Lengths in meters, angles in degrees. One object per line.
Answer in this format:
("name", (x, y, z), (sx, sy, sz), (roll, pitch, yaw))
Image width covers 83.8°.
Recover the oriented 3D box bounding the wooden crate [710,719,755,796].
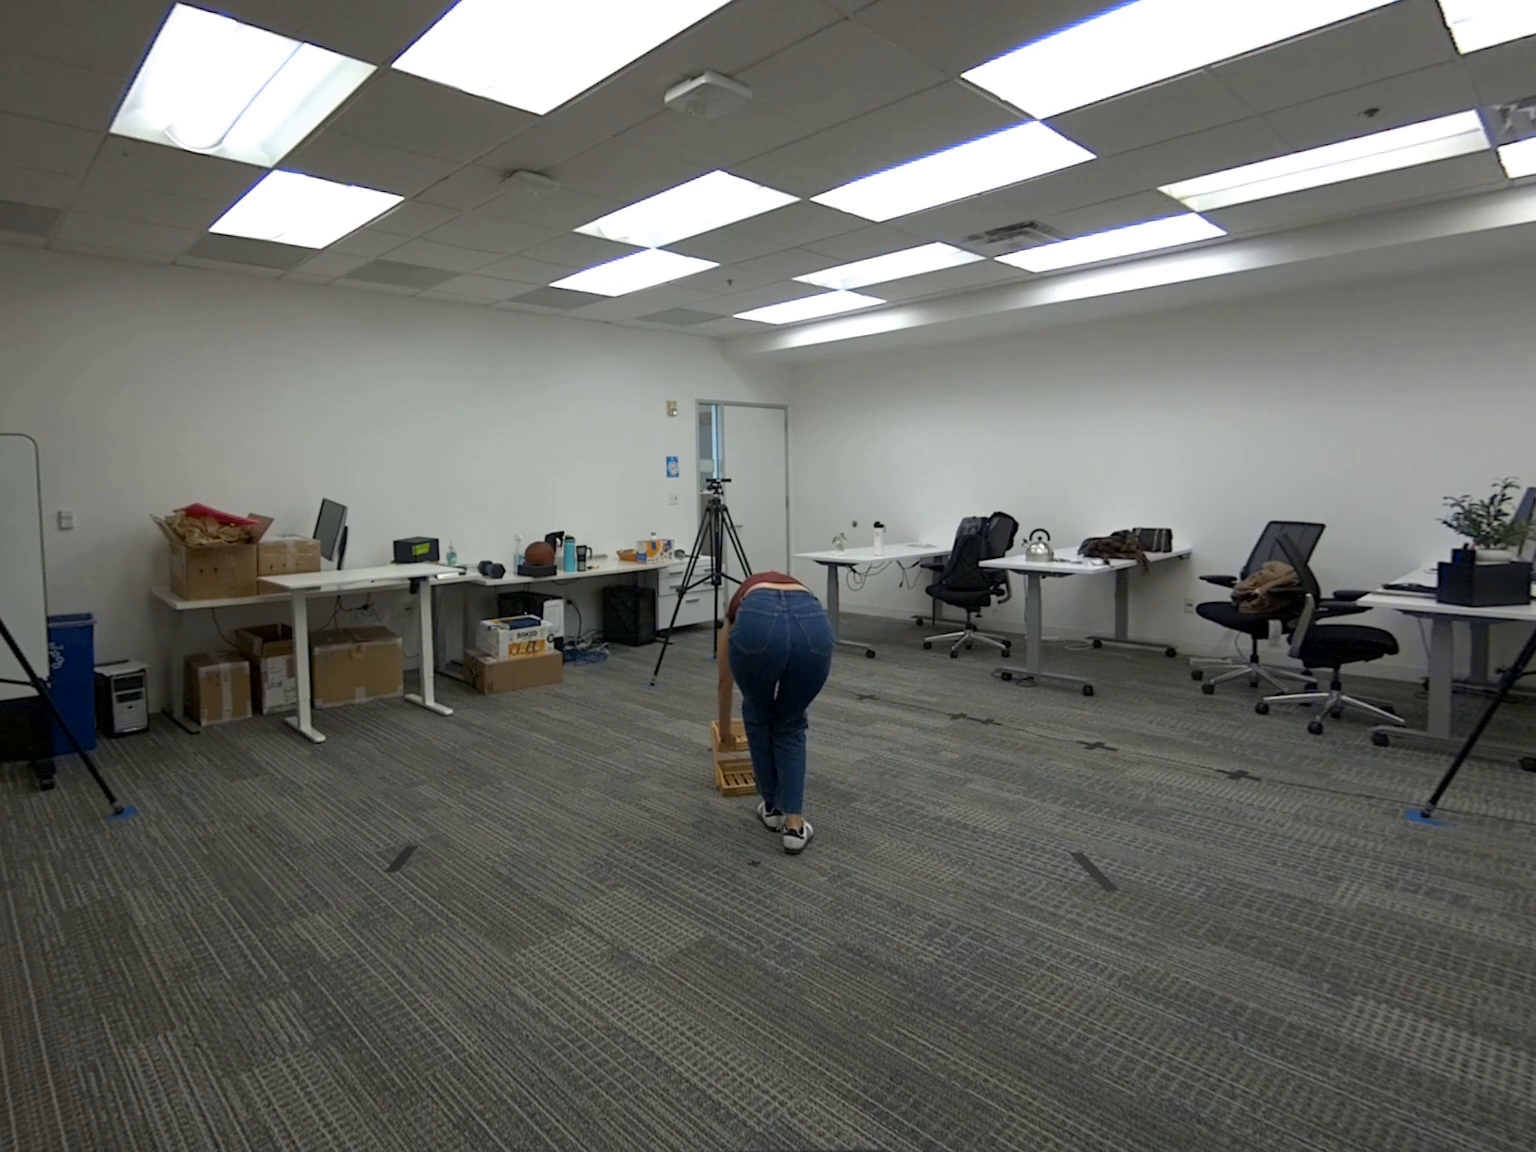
("wooden crate", (-0.083, 0.820, 3.908), (0.321, 0.272, 0.306), (-2, 4, -11))
